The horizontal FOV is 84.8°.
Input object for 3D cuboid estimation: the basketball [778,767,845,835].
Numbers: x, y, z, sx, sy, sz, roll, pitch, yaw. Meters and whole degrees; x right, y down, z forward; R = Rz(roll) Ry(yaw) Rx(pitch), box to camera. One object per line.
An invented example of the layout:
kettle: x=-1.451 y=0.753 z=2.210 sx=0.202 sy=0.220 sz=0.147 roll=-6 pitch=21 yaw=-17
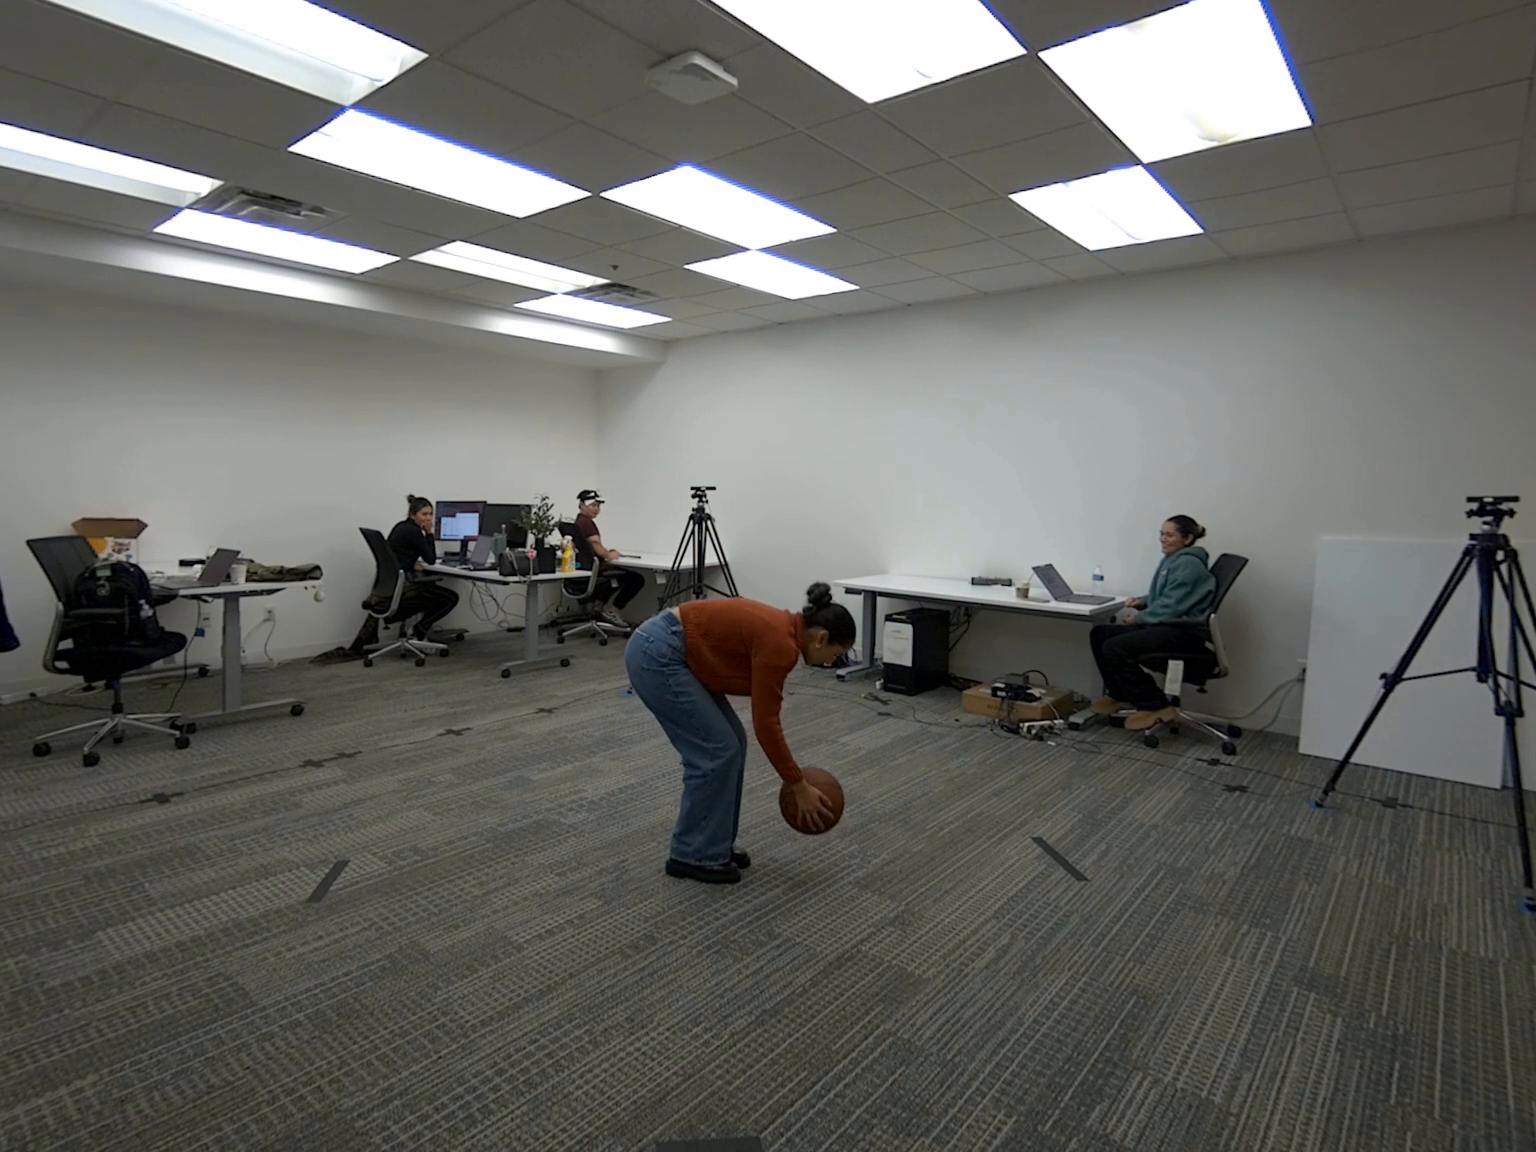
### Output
basketball: x=0.148 y=0.794 z=3.072 sx=0.236 sy=0.235 sz=0.237 roll=1 pitch=4 yaw=-2
